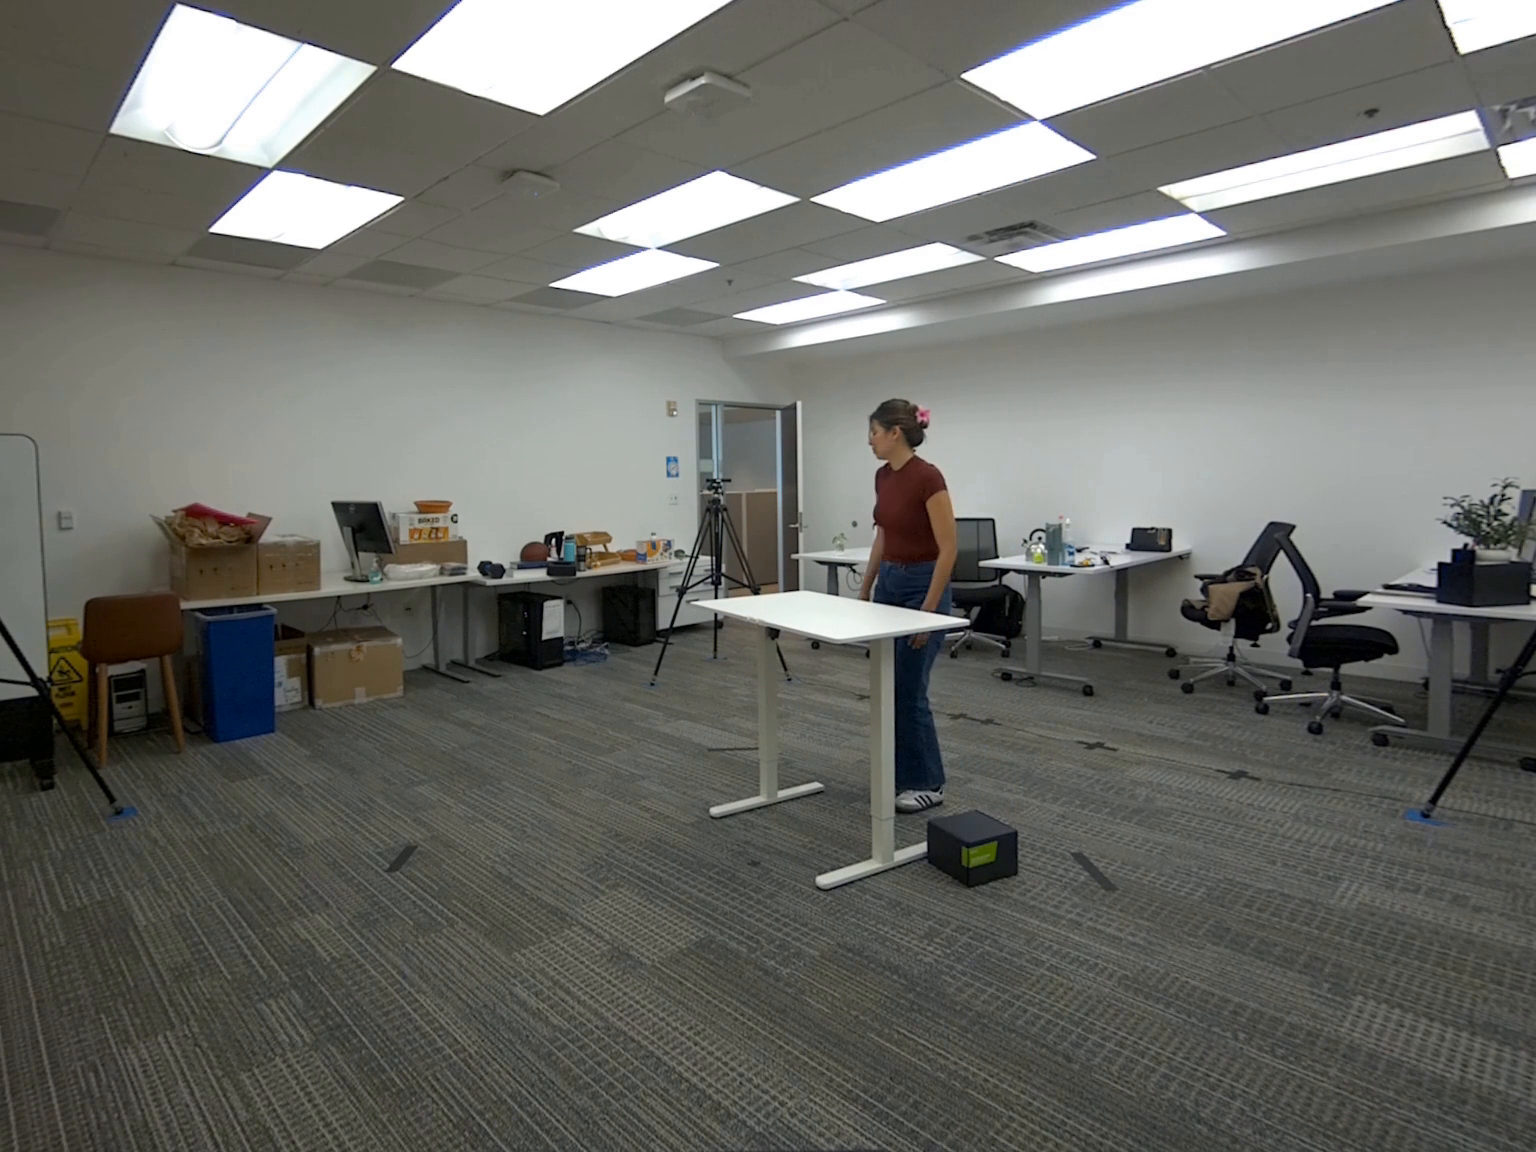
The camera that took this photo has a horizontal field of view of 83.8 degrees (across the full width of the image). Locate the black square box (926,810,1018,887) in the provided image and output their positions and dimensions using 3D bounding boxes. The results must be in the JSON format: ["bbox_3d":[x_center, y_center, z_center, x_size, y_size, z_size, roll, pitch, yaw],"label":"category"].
[{"bbox_3d":[0.724,0.959,3.026,0.223,0.155,0.223,-4,6,-27],"label":"black square box"}]
